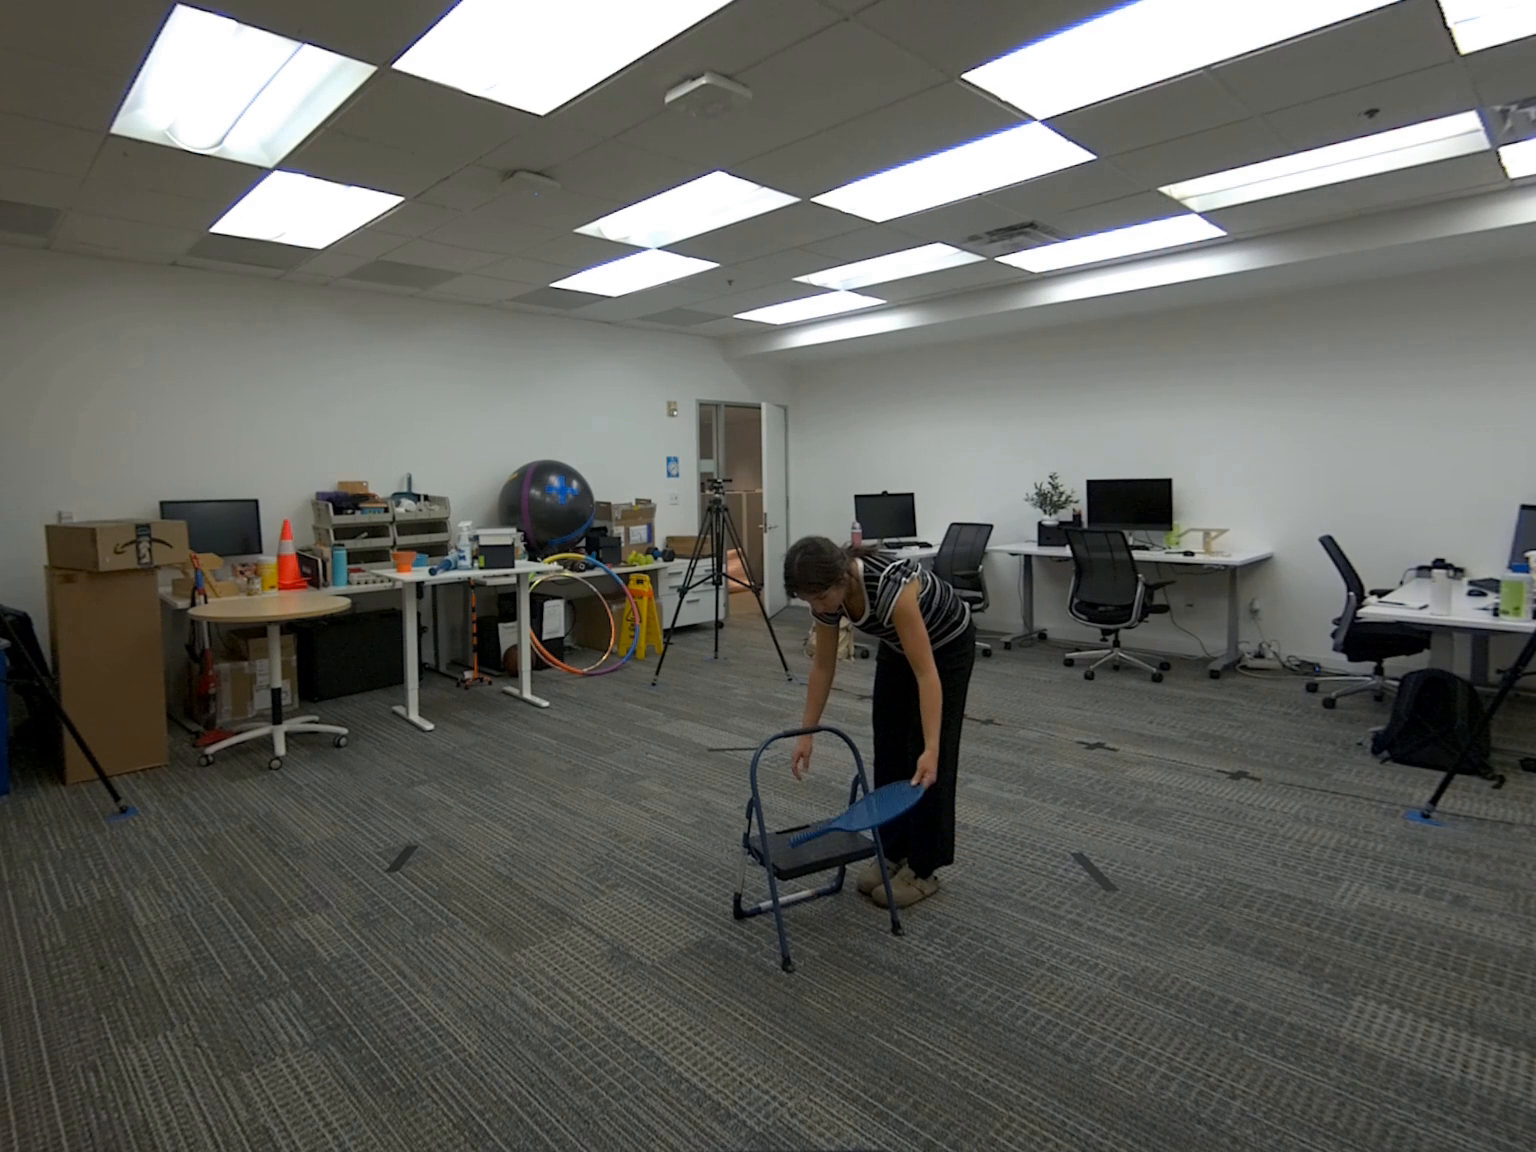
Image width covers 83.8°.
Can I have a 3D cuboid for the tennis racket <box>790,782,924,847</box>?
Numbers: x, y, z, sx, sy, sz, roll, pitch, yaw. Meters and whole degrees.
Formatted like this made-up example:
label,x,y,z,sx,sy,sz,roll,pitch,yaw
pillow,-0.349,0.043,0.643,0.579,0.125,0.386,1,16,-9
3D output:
label,x,y,z,sx,sy,sz,roll,pitch,yaw
tennis racket,0.258,0.688,2.457,0.436,0.031,0.213,-28,5,20
